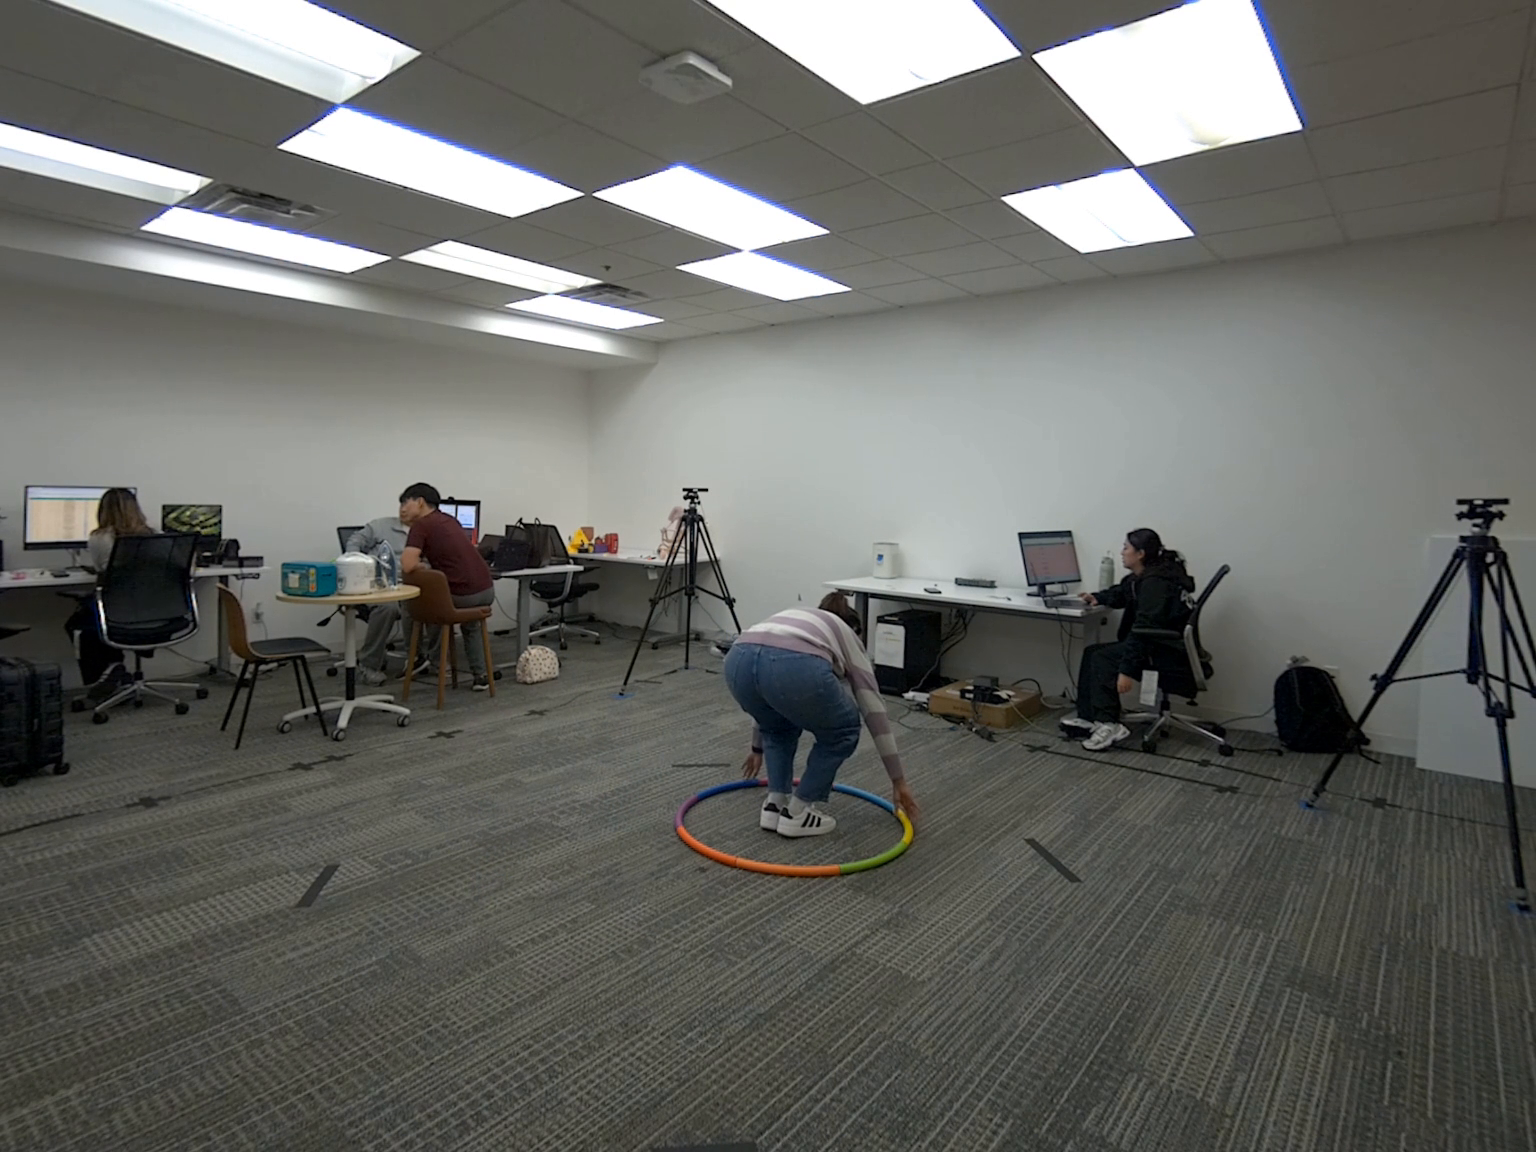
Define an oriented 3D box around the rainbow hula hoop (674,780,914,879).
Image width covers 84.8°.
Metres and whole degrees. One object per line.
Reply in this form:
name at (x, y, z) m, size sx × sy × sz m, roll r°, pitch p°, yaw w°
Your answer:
rainbow hula hoop at (0.092, 1.004, 3.544) m, size 0.978 × 0.035 × 0.984 m, roll 1°, pitch 6°, yaw -2°
